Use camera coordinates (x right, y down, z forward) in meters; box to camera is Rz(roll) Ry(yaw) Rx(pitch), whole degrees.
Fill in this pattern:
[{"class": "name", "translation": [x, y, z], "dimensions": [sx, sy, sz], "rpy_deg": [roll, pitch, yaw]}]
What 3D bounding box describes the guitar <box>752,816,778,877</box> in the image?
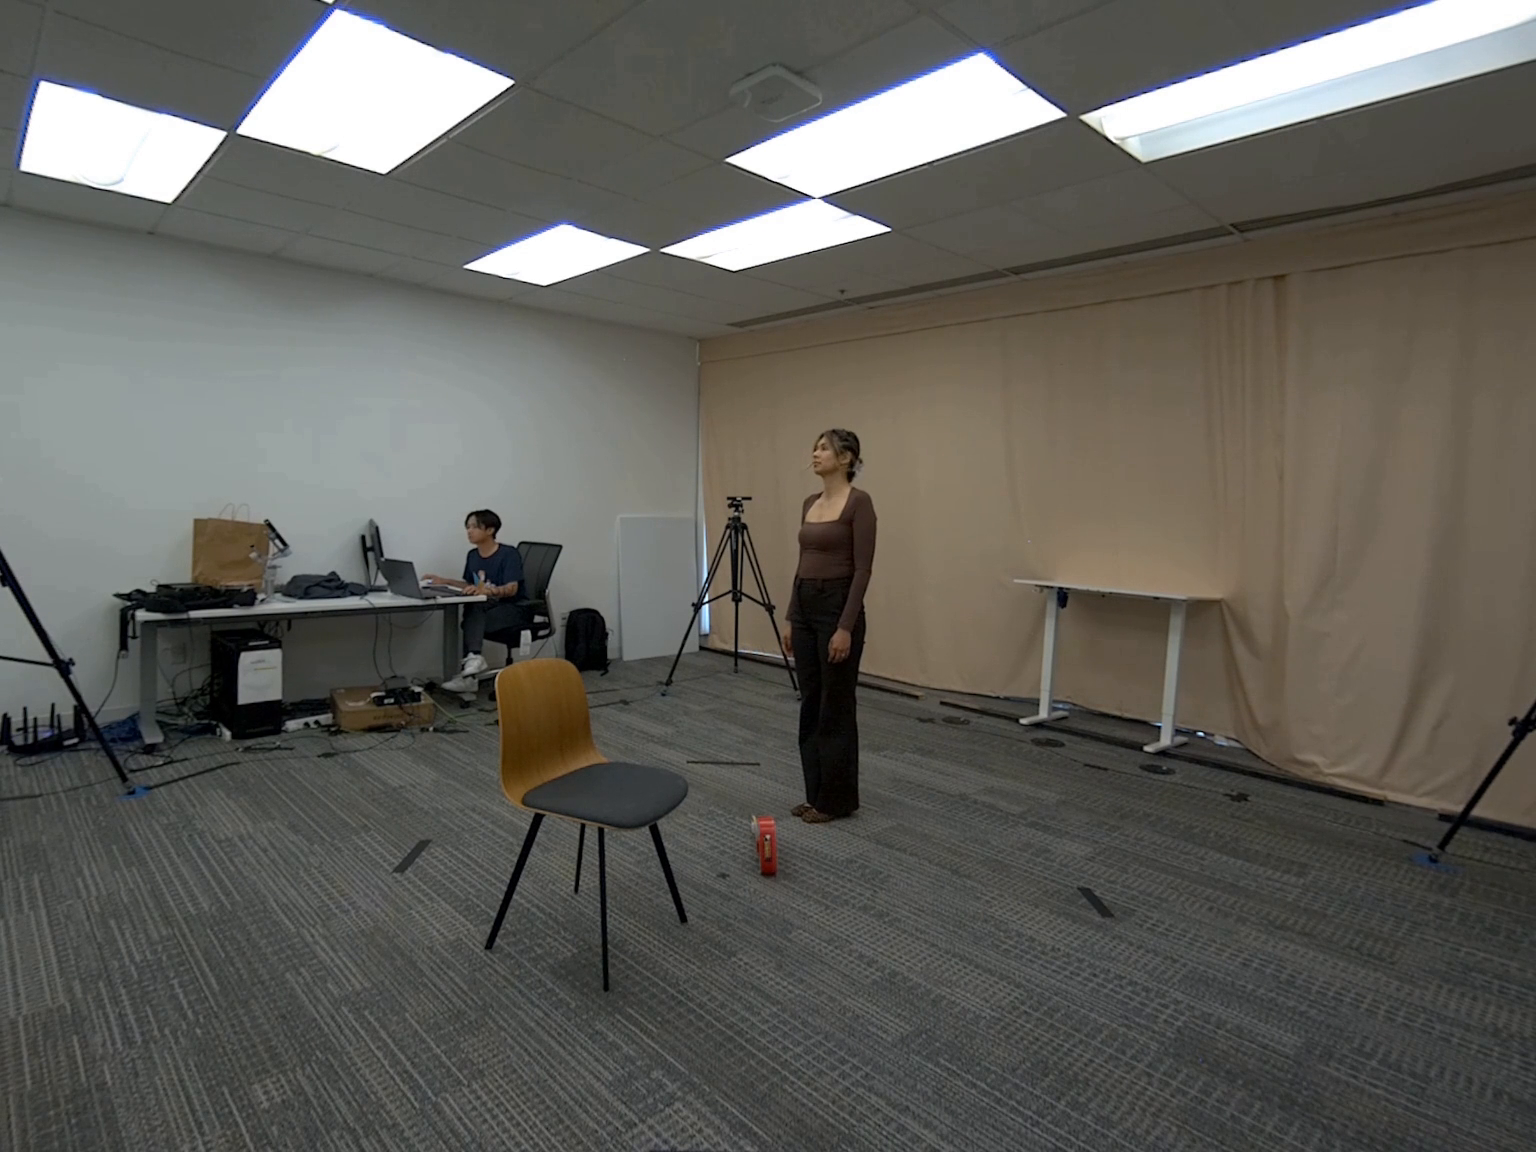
[{"class": "guitar", "translation": [-0.030, 0.997, 3.330], "dimensions": [0.070, 0.192, 0.500], "rpy_deg": [-2, 4, -5]}]
